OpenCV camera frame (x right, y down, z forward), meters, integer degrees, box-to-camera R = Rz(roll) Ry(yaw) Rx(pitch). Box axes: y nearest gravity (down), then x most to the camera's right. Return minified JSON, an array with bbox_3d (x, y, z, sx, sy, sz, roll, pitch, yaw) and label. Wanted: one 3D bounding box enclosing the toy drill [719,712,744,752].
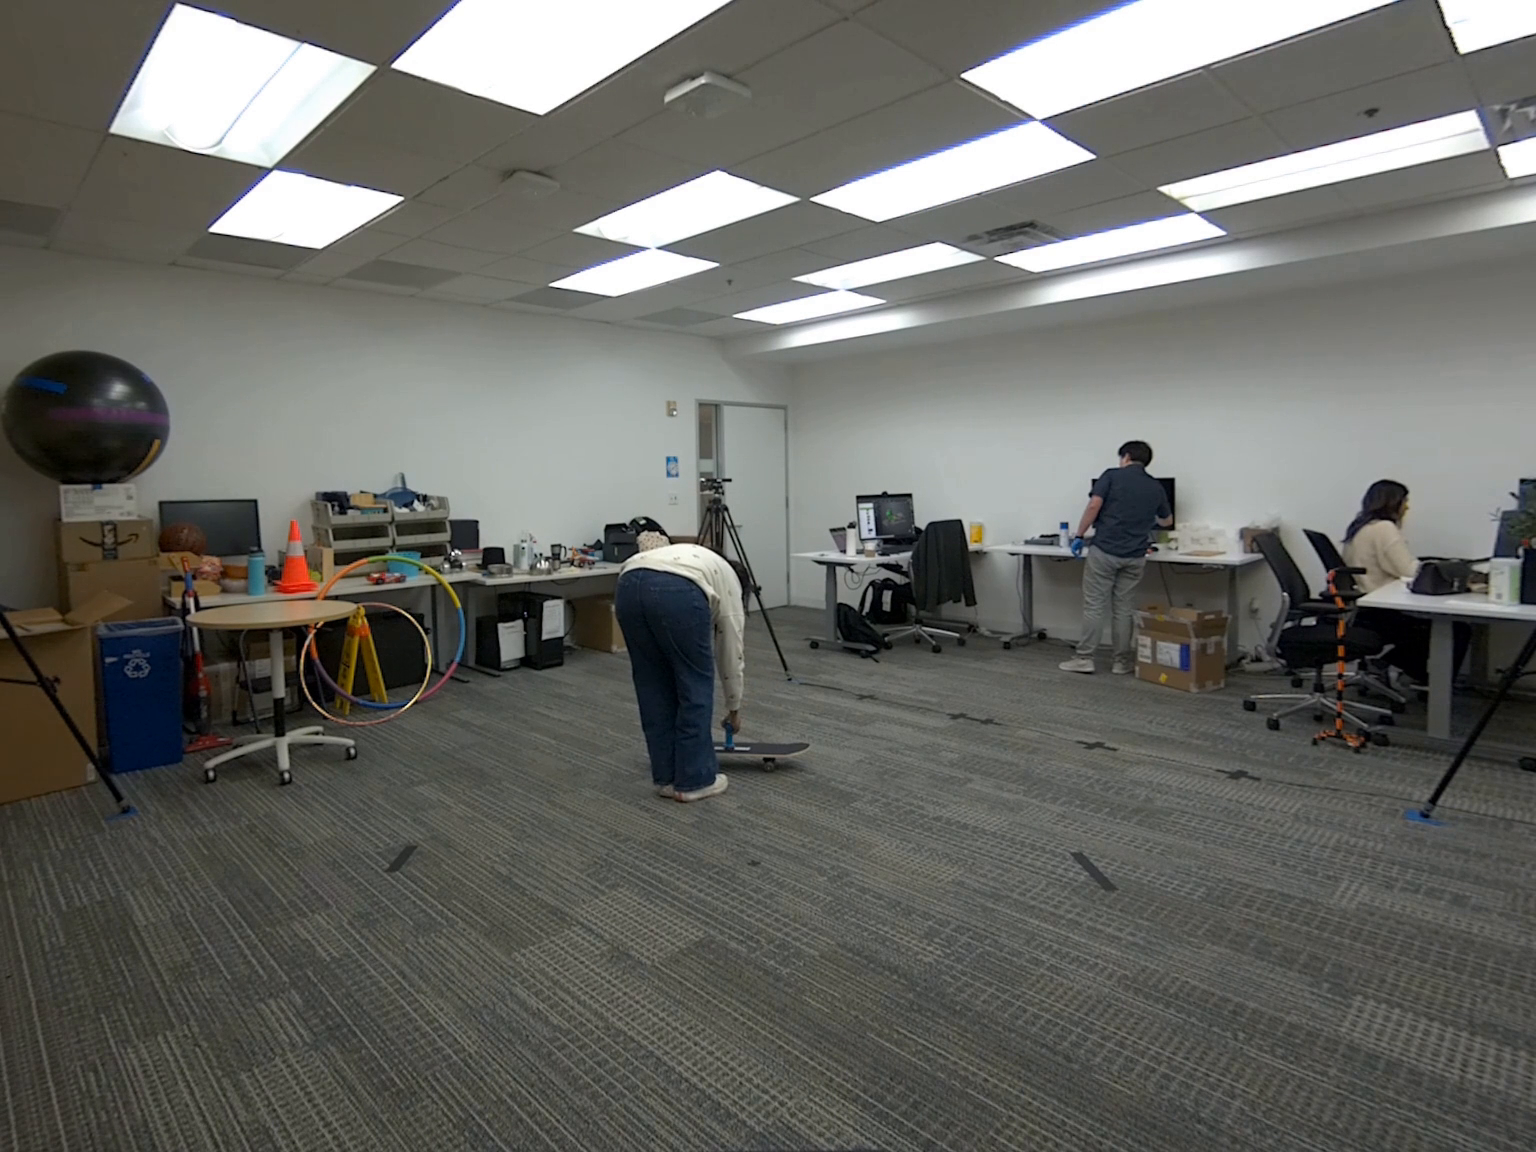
[{"bbox_3d":[-0.183,0.765,4.222,0.060,0.146,0.173,6,2,-17],"label":"toy drill"}]
